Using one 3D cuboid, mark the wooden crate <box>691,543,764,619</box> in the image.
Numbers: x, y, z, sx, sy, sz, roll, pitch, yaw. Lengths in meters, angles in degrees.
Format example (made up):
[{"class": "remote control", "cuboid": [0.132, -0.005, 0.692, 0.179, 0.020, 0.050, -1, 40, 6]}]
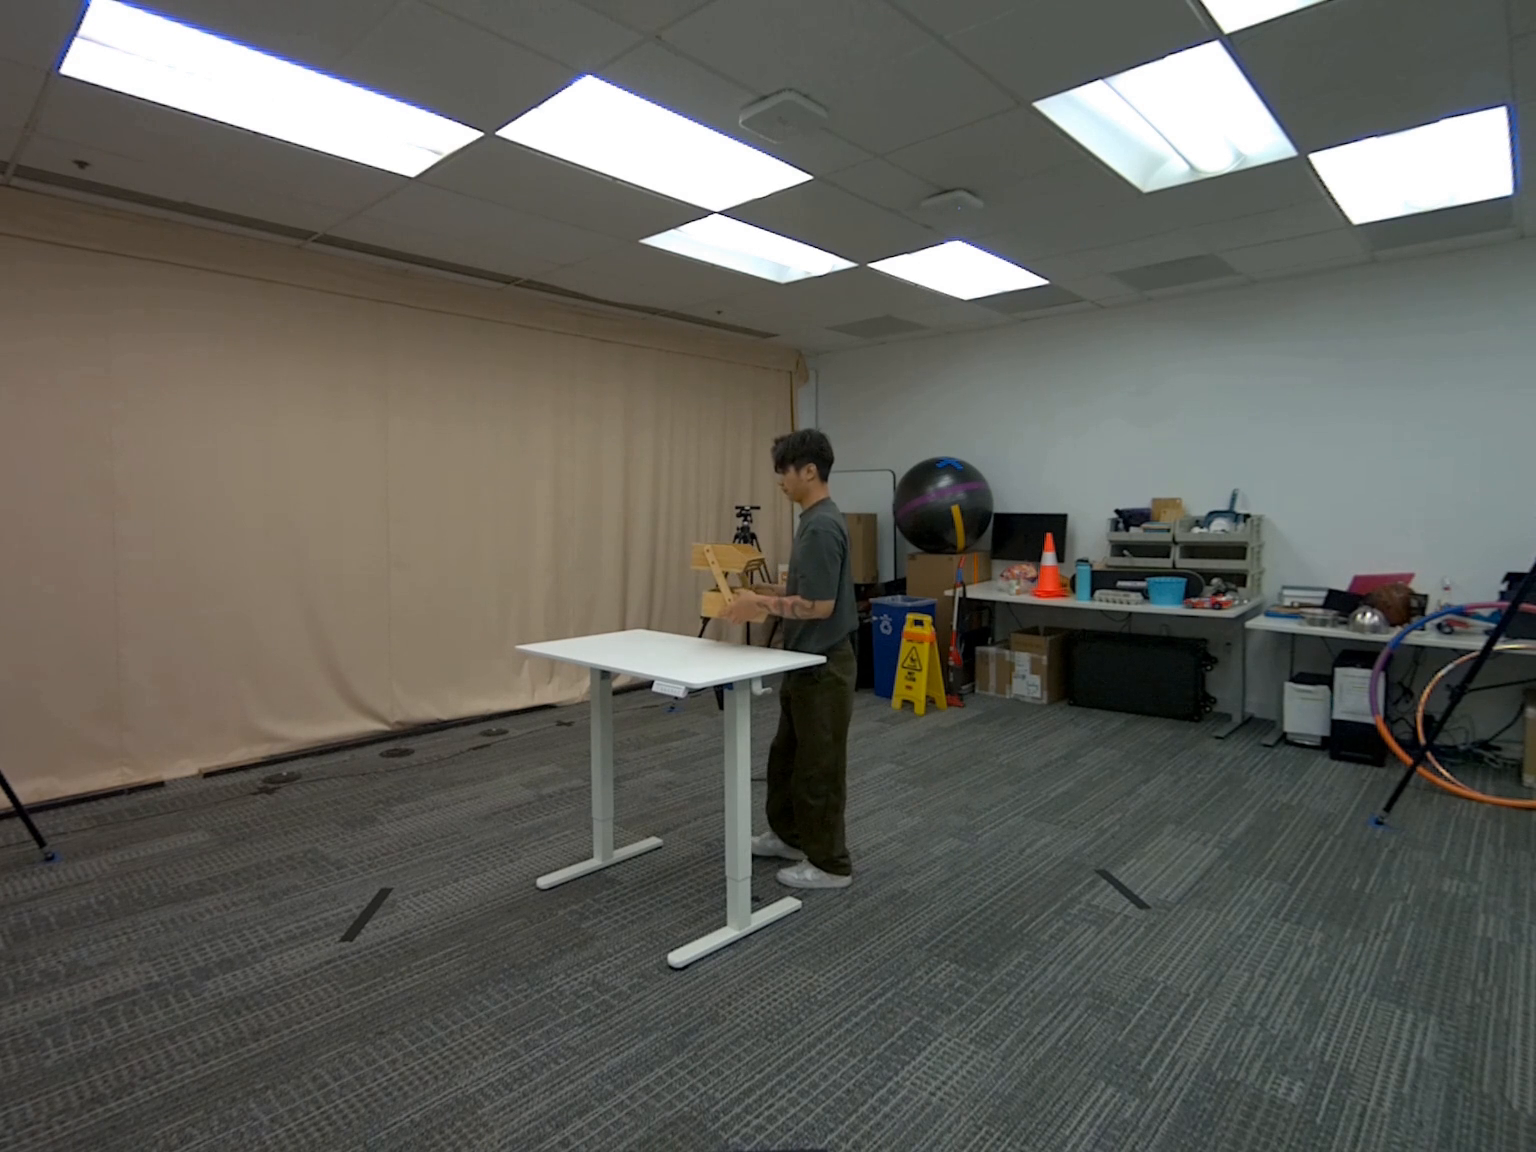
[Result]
[{"class": "wooden crate", "cuboid": [-0.099, 0.015, 3.146, 0.307, 0.273, 0.319, 5, 3, 14]}]
